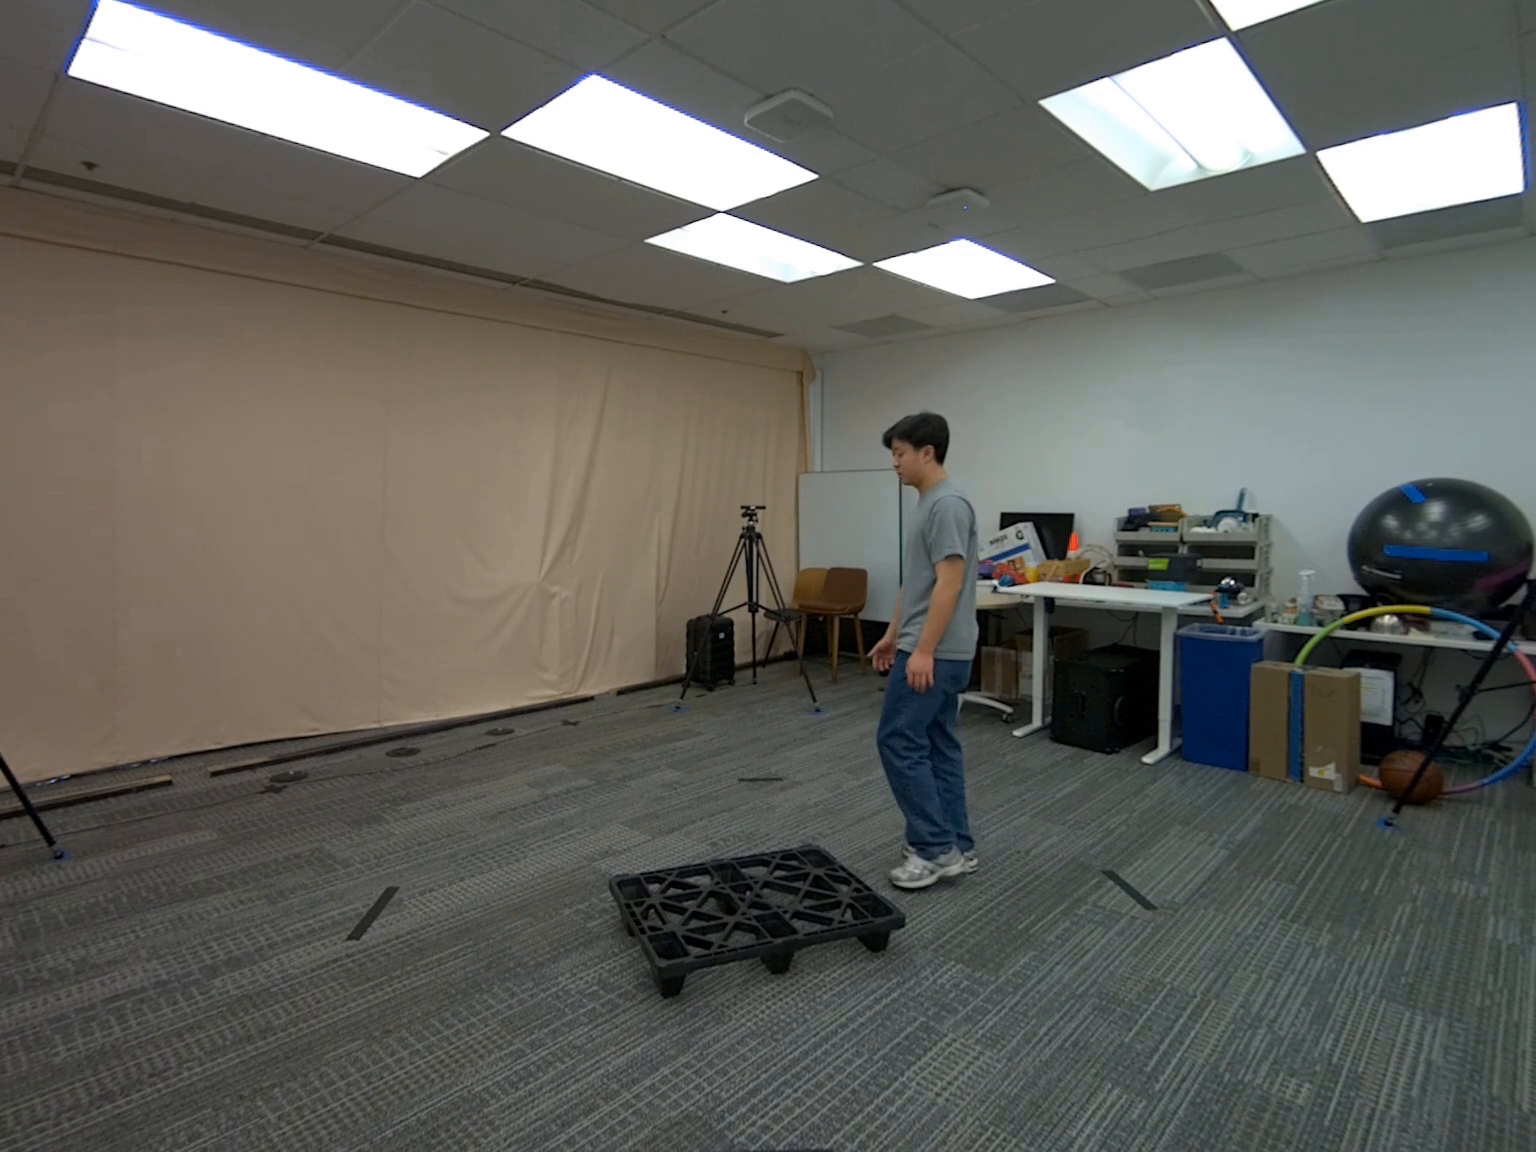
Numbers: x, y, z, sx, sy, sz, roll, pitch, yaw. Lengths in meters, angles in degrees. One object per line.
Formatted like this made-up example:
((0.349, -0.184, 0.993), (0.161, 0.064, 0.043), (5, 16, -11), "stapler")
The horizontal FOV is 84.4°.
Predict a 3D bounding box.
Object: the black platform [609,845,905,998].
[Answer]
((-0.061, 1.099, 2.720), (0.788, 0.143, 0.619), (-2, 4, -22), "black platform")
